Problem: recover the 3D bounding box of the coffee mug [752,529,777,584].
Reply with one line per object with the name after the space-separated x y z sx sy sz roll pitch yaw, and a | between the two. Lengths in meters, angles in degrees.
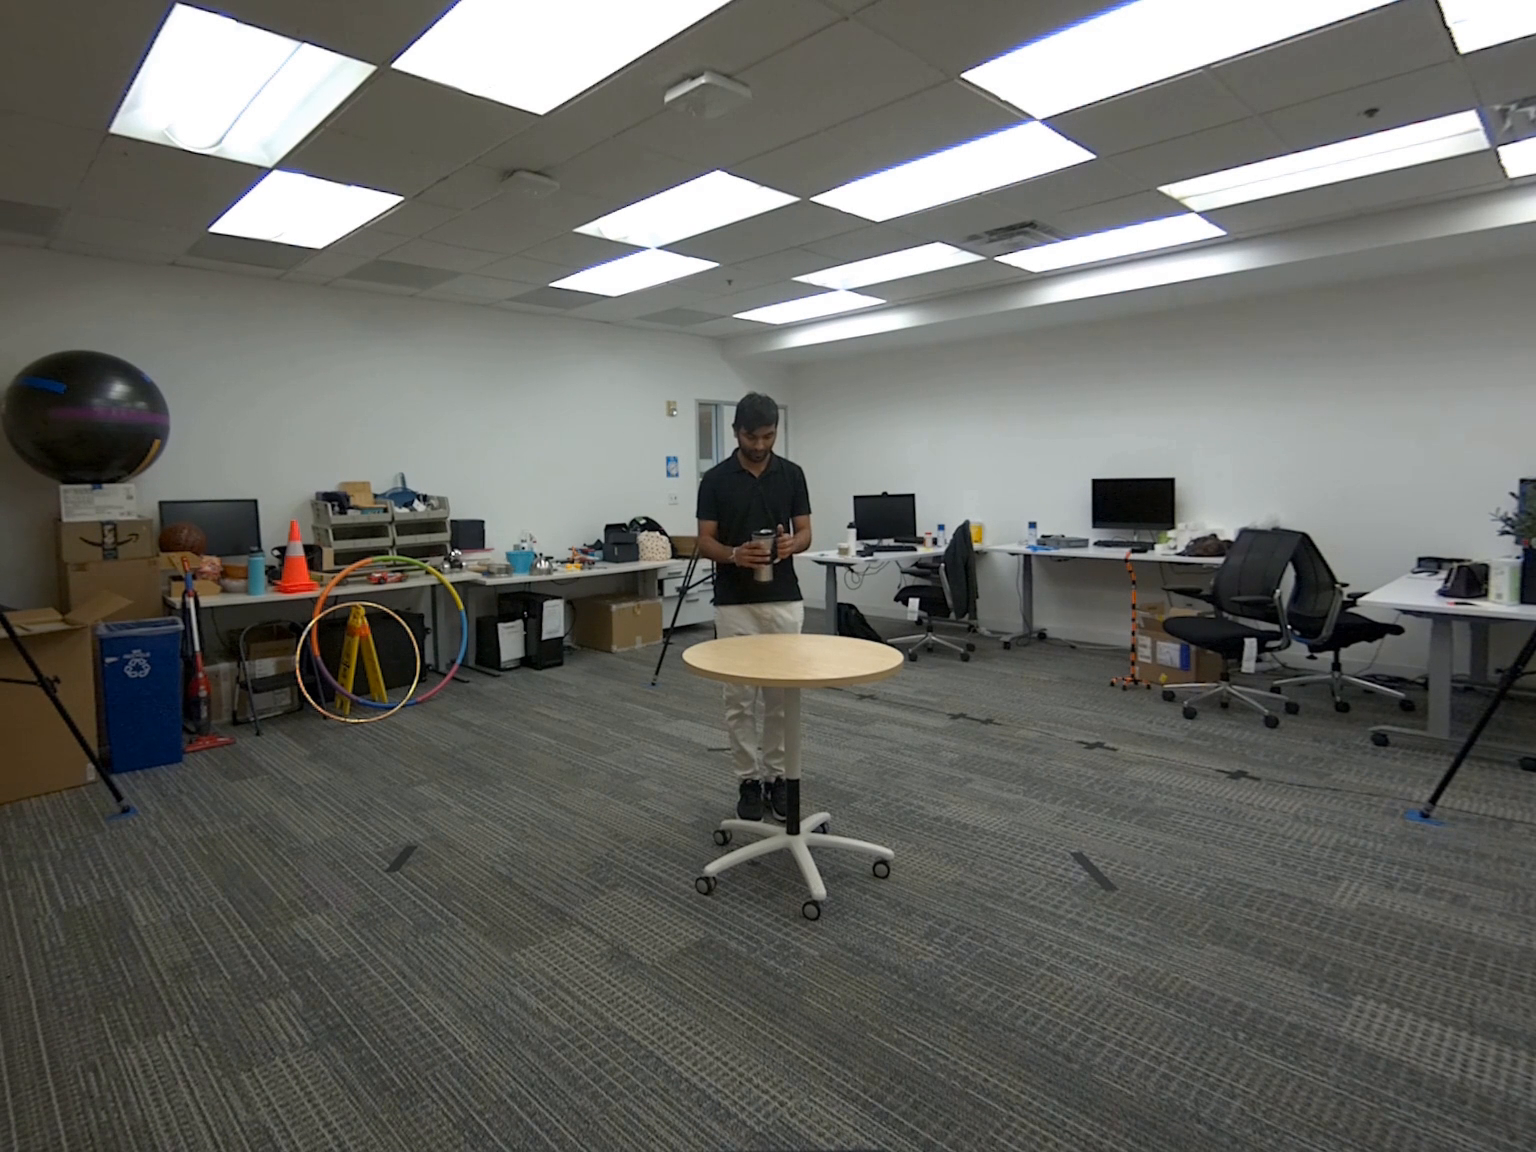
0.002 -0.073 3.264 0.124 0.203 0.086 -2 1 17 | coffee mug
